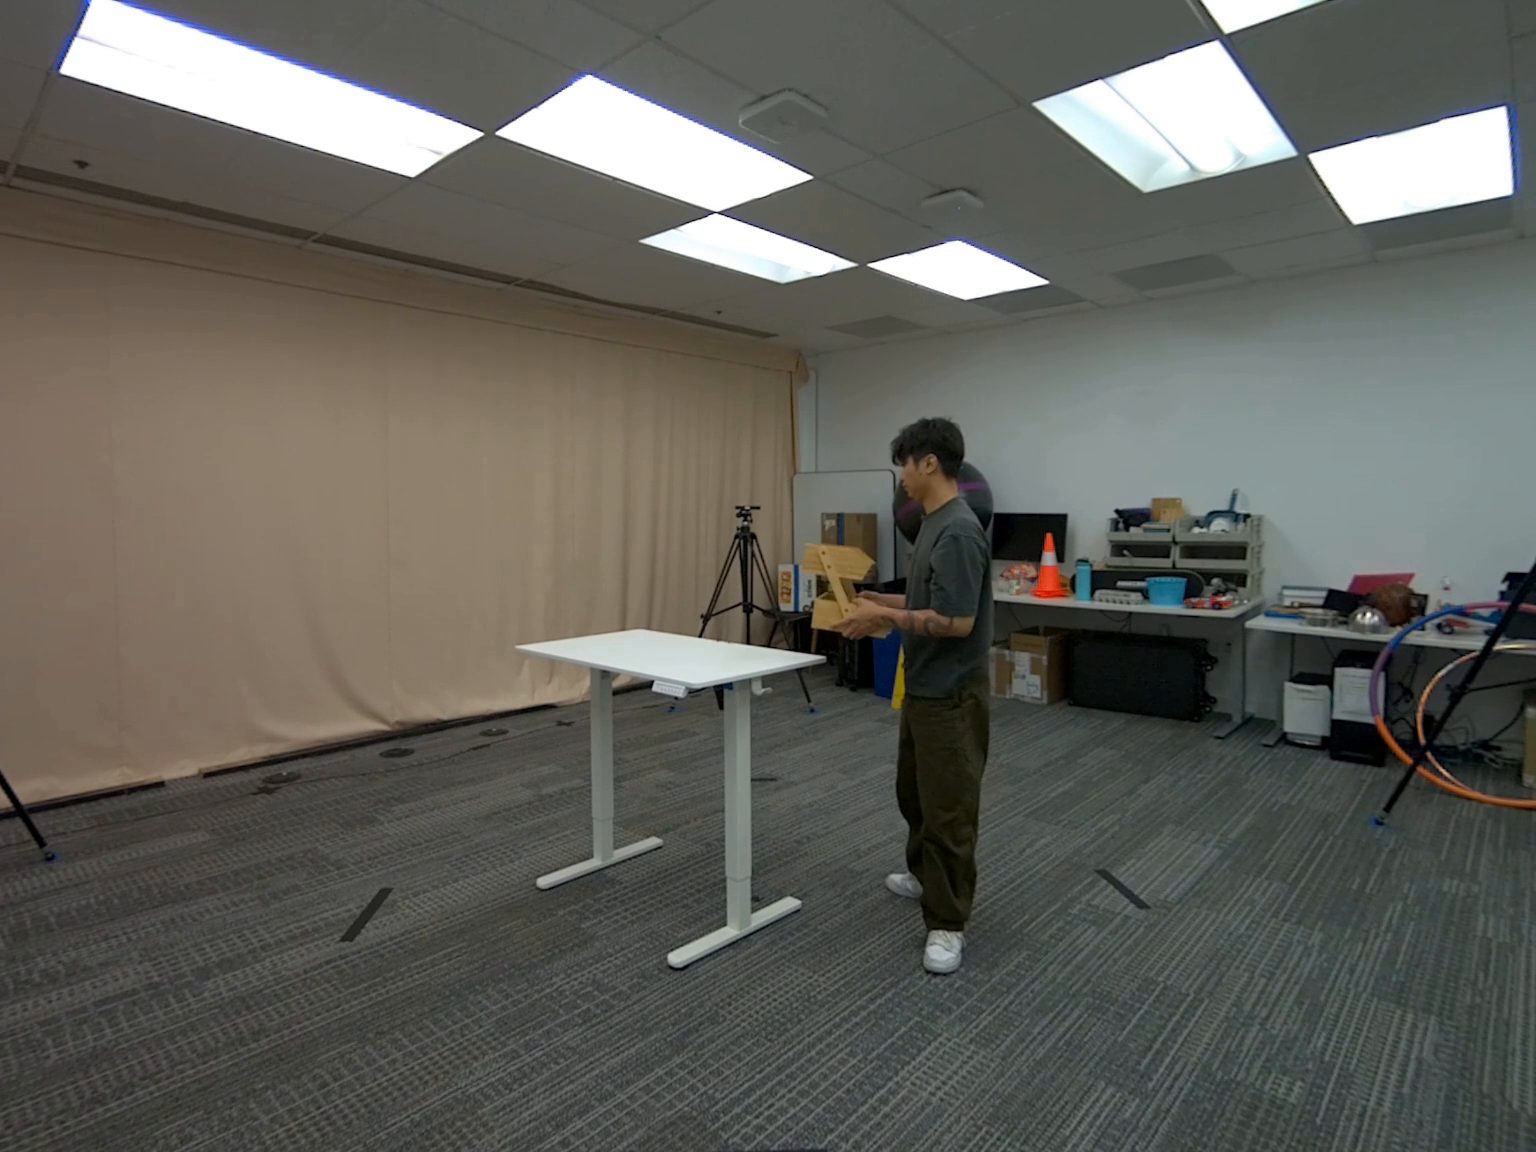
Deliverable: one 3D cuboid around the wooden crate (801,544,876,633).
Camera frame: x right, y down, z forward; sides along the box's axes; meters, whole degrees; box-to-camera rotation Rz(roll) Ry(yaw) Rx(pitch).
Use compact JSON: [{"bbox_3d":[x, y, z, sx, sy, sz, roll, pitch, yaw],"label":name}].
[{"bbox_3d":[0.283,0.041,2.760,0.306,0.273,0.320,8,3,11],"label":"wooden crate"}]
